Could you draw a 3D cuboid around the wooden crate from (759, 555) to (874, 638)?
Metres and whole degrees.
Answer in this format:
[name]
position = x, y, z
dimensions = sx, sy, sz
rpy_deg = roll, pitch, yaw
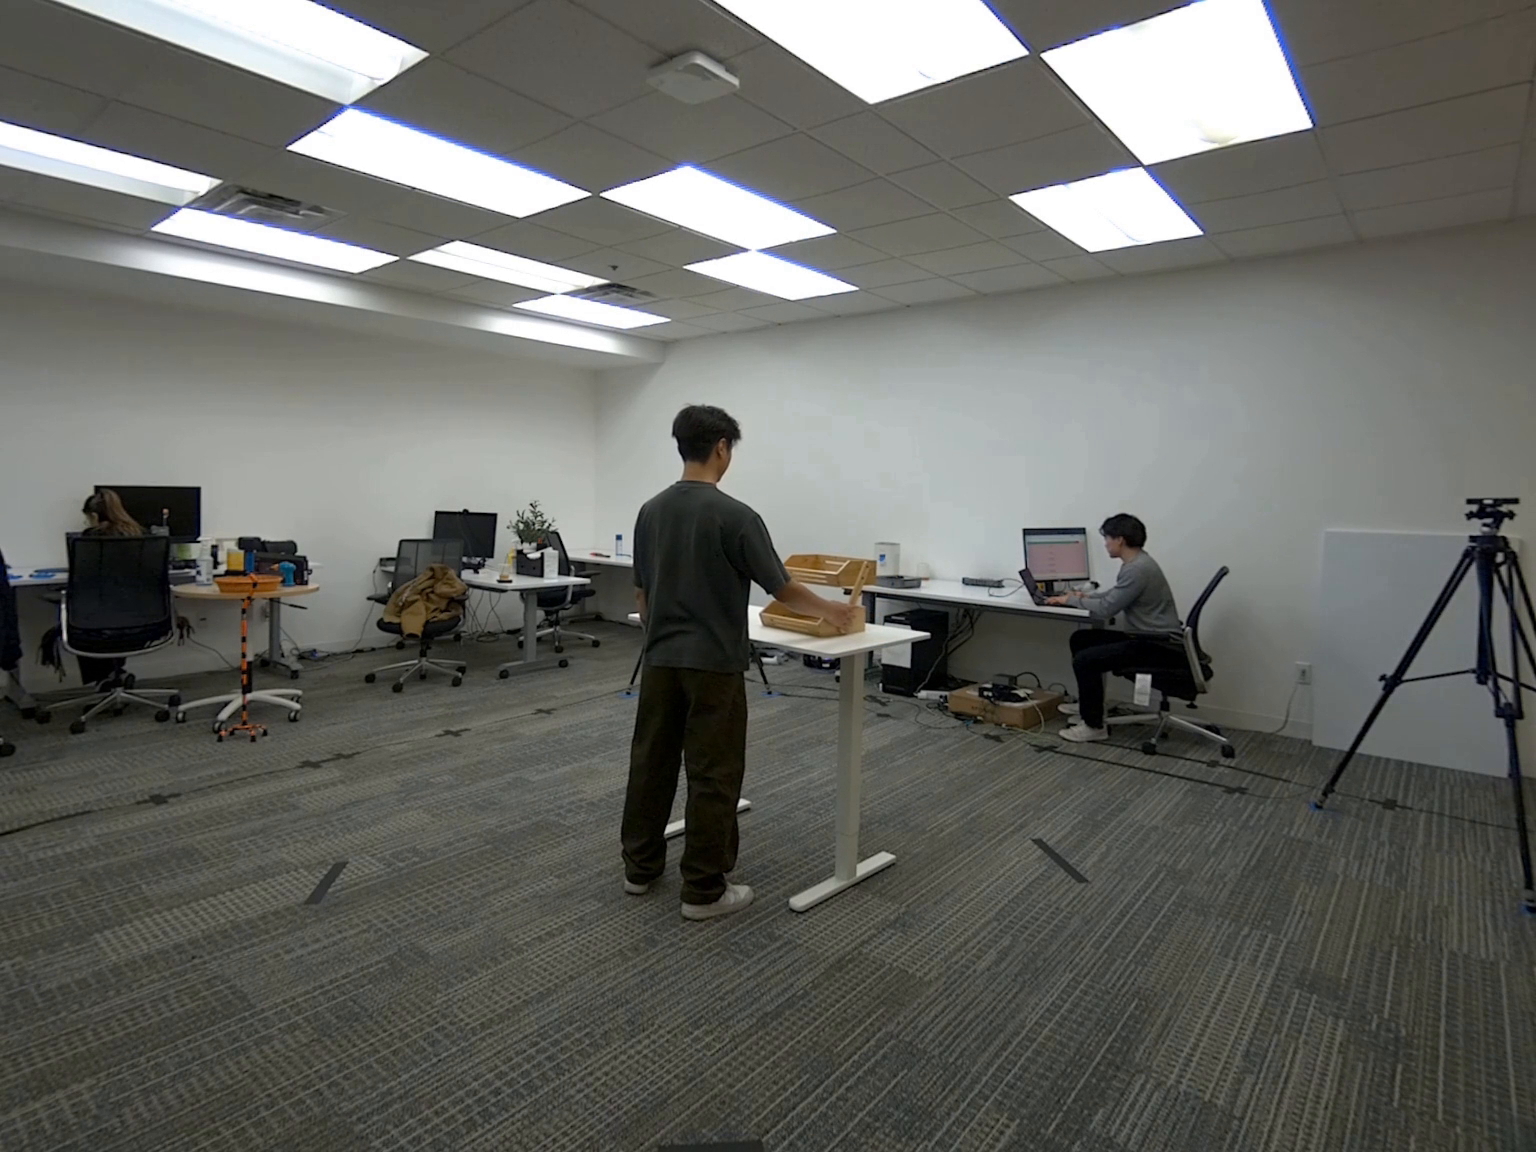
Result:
[wooden crate]
position = 0.173, 0.056, 3.141
dimensions = 0.293, 0.272, 0.336
rpy_deg = -2, 6, -42
